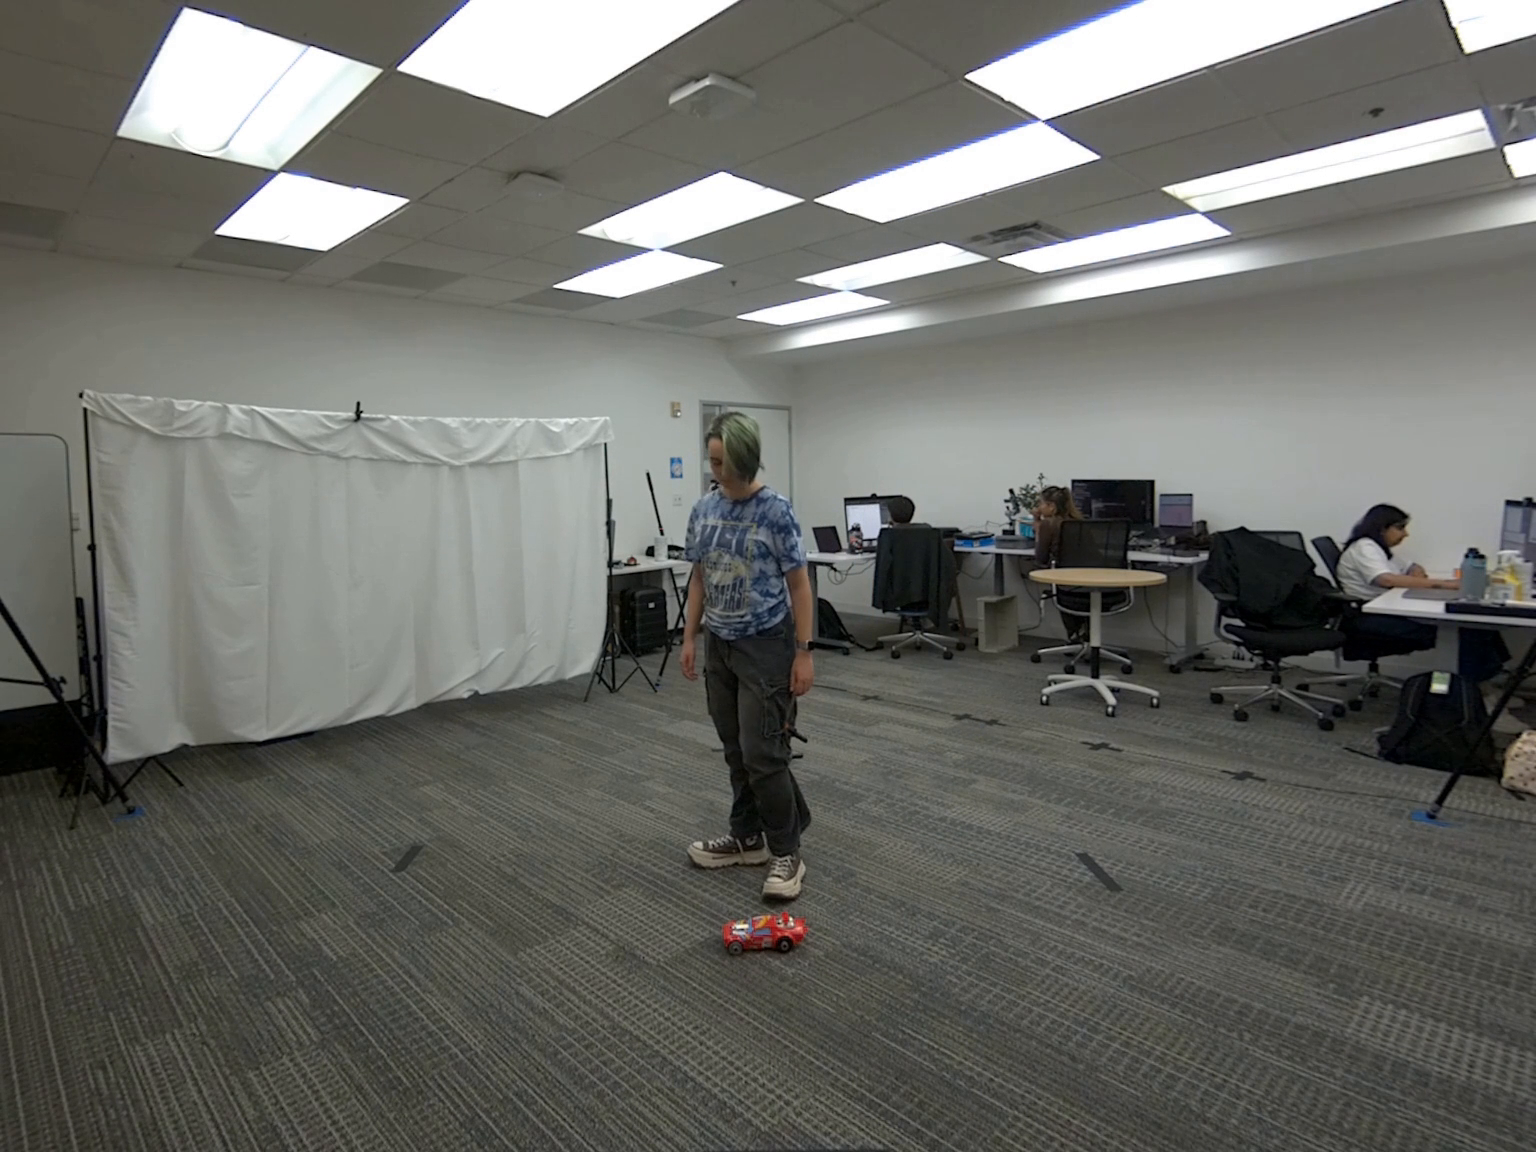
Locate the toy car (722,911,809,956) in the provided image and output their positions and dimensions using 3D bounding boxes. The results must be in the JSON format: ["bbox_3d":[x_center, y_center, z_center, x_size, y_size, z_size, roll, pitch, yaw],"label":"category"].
[{"bbox_3d":[-0.006,1.081,2.568,0.254,0.083,0.131,-13,5,-1],"label":"toy car"}]
